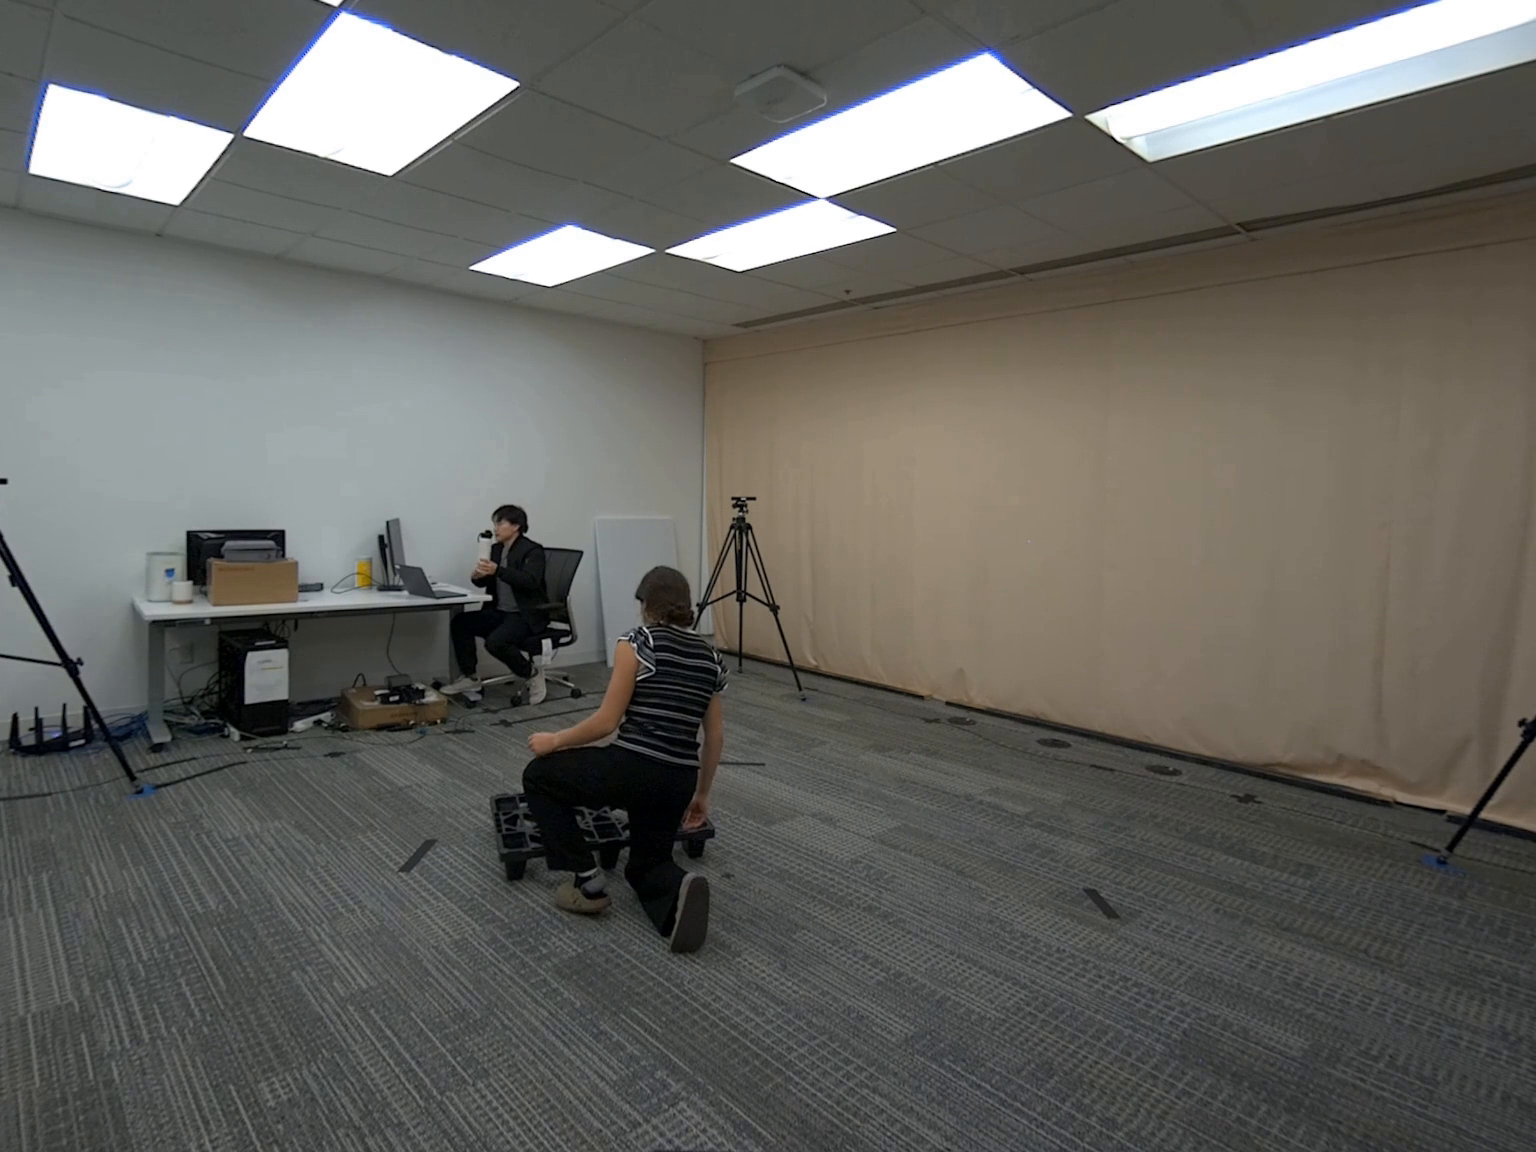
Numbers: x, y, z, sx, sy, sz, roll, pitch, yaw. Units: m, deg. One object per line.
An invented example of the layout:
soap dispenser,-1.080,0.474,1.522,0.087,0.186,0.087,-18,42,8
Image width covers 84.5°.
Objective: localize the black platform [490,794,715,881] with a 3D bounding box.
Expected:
black platform,-0.688,1.004,3.357,0.794,0.143,0.615,0,5,-20
